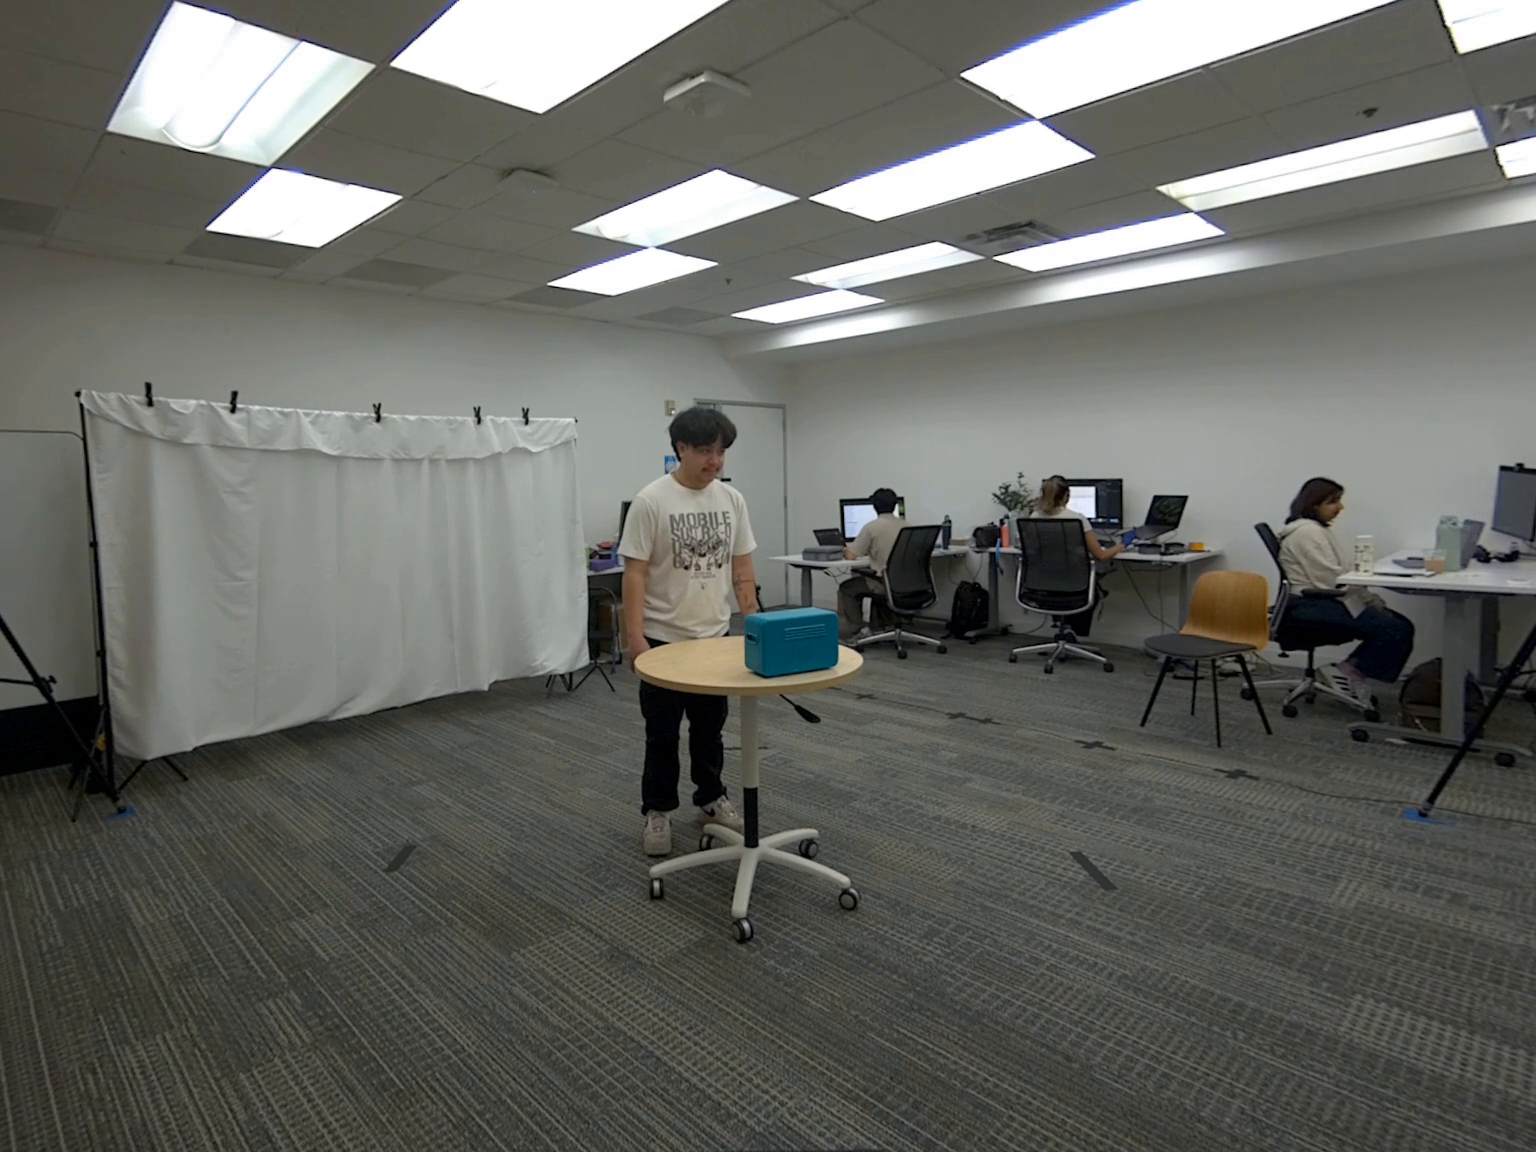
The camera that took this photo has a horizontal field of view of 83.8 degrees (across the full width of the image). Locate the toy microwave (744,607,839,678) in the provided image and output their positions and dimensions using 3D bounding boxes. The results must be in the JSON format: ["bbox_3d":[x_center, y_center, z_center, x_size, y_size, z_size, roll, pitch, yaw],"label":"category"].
[{"bbox_3d":[0.073,0.204,2.699,0.280,0.183,0.156,-4,6,-27],"label":"toy microwave"}]
